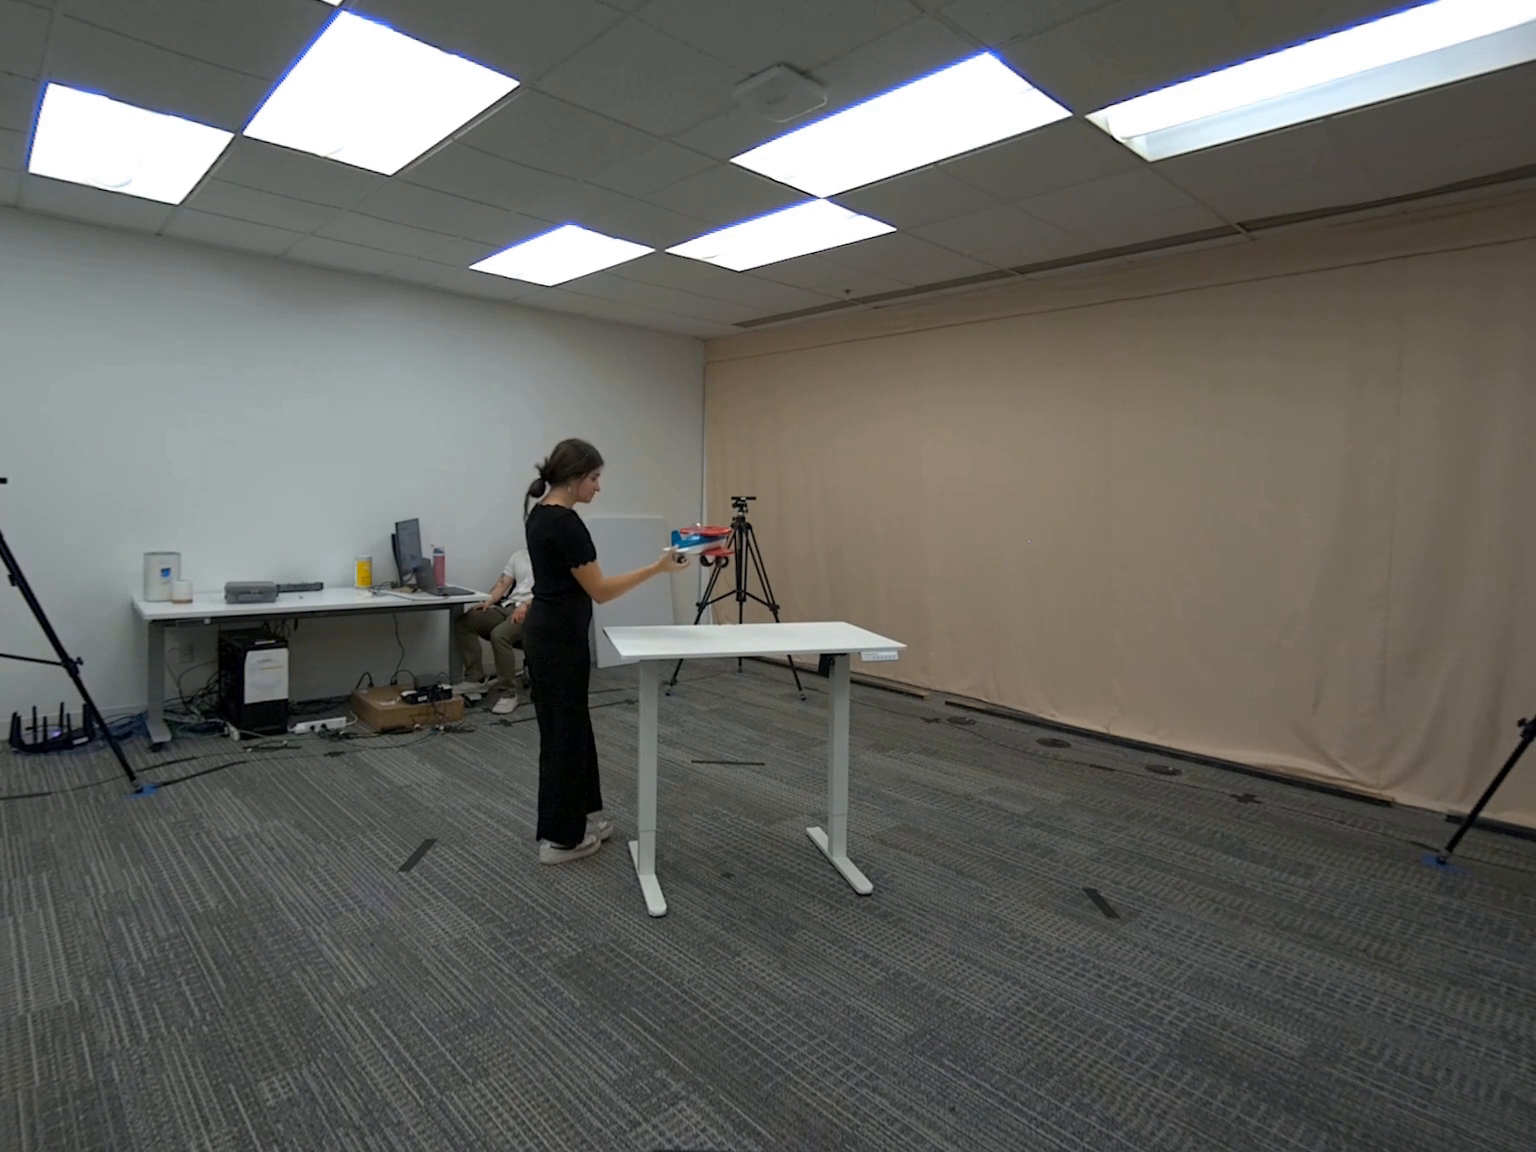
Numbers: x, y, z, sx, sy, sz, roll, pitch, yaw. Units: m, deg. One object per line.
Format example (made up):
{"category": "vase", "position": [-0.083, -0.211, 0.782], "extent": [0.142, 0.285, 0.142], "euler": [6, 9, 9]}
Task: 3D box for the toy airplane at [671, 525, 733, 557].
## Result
{"category": "toy airplane", "position": [-0.255, -0.111, 3.128], "extent": [0.255, 0.156, 0.255], "euler": [4, 0, 17]}
